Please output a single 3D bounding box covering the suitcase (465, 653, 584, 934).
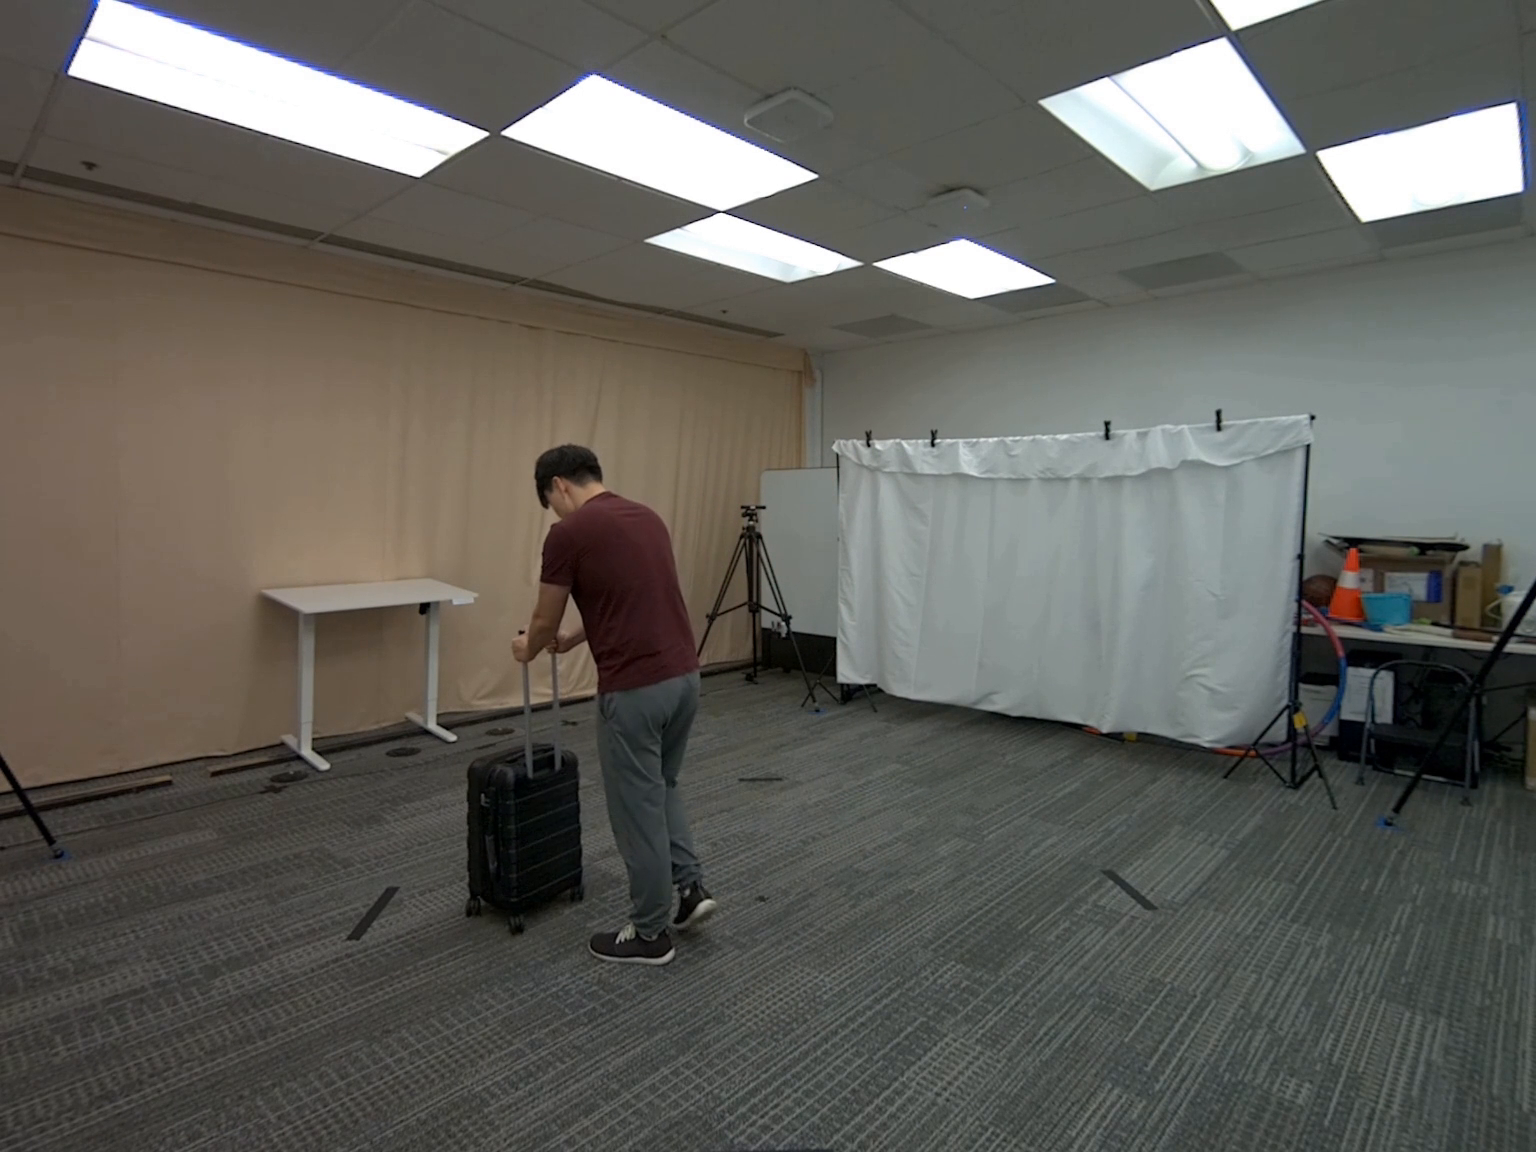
[{"bbox_3d":[-0.864,0.680,2.949,0.264,0.978,0.373,-2,0,32],"label":"suitcase"}]
